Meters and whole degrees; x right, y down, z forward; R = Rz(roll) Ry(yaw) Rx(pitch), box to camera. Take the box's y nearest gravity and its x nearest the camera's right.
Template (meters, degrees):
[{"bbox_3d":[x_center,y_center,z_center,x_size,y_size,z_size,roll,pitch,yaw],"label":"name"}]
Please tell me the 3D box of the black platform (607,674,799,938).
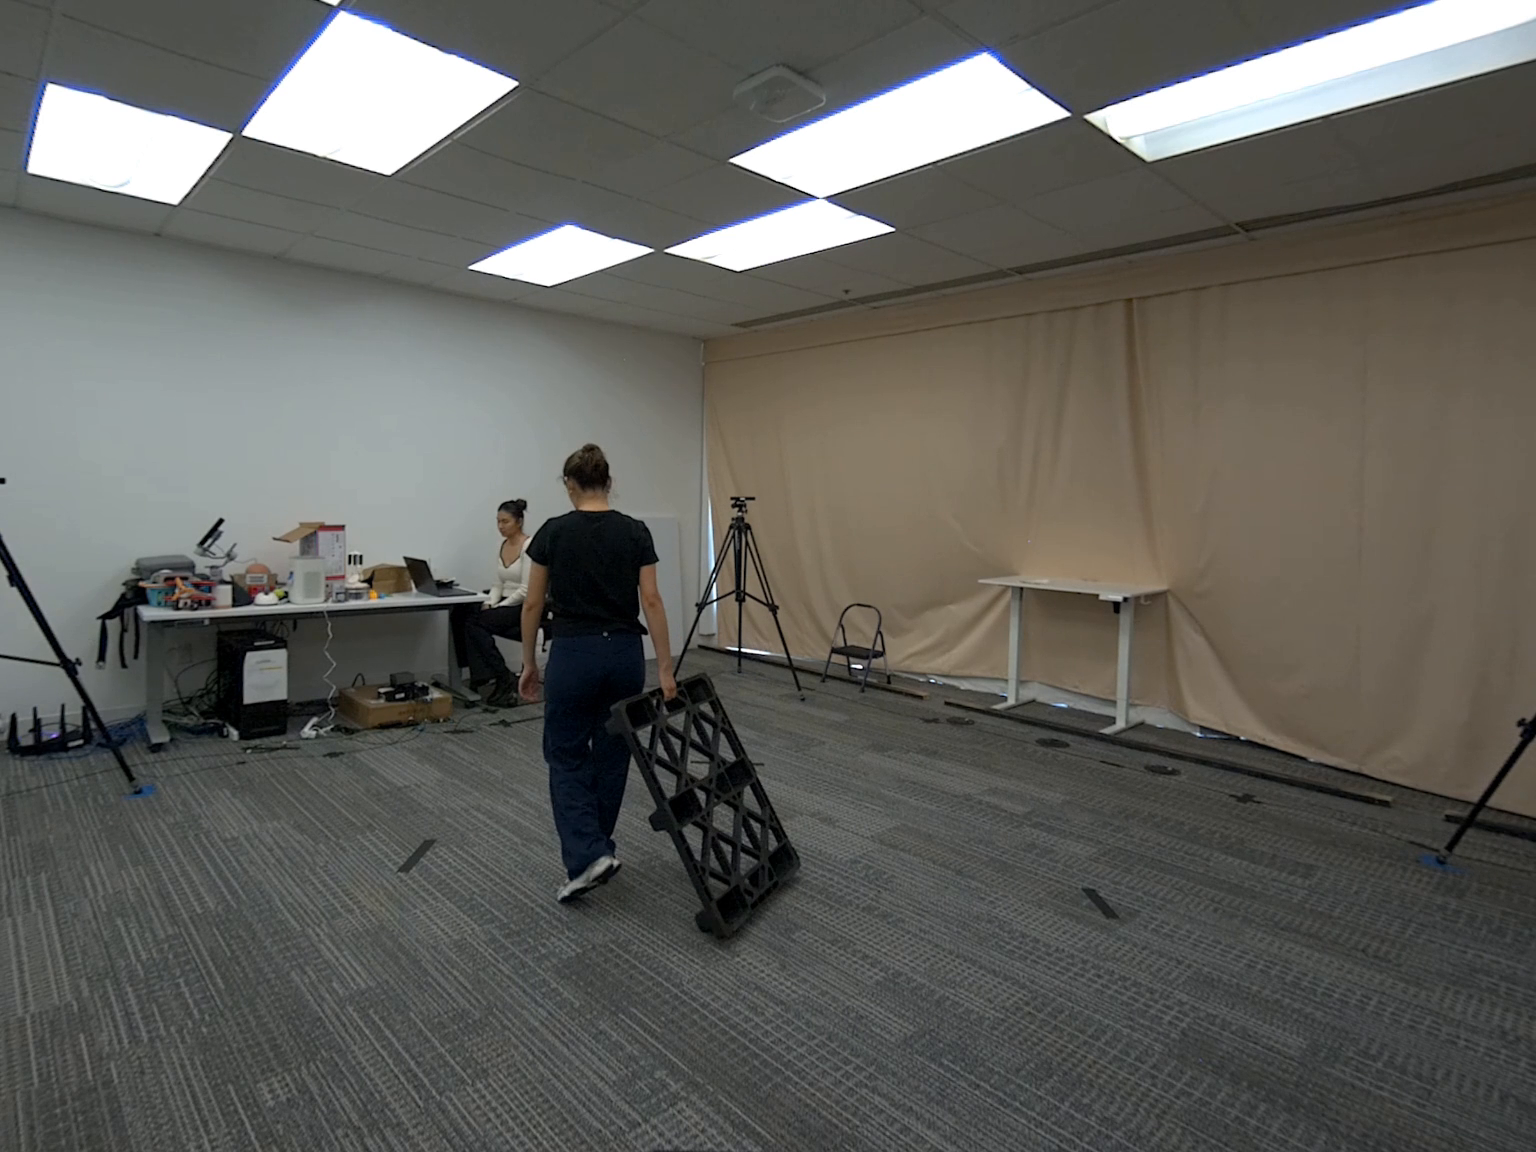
[{"bbox_3d":[-0.231,0.771,2.941,0.144,0.815,0.595,-32,-11,23],"label":"black platform"}]
